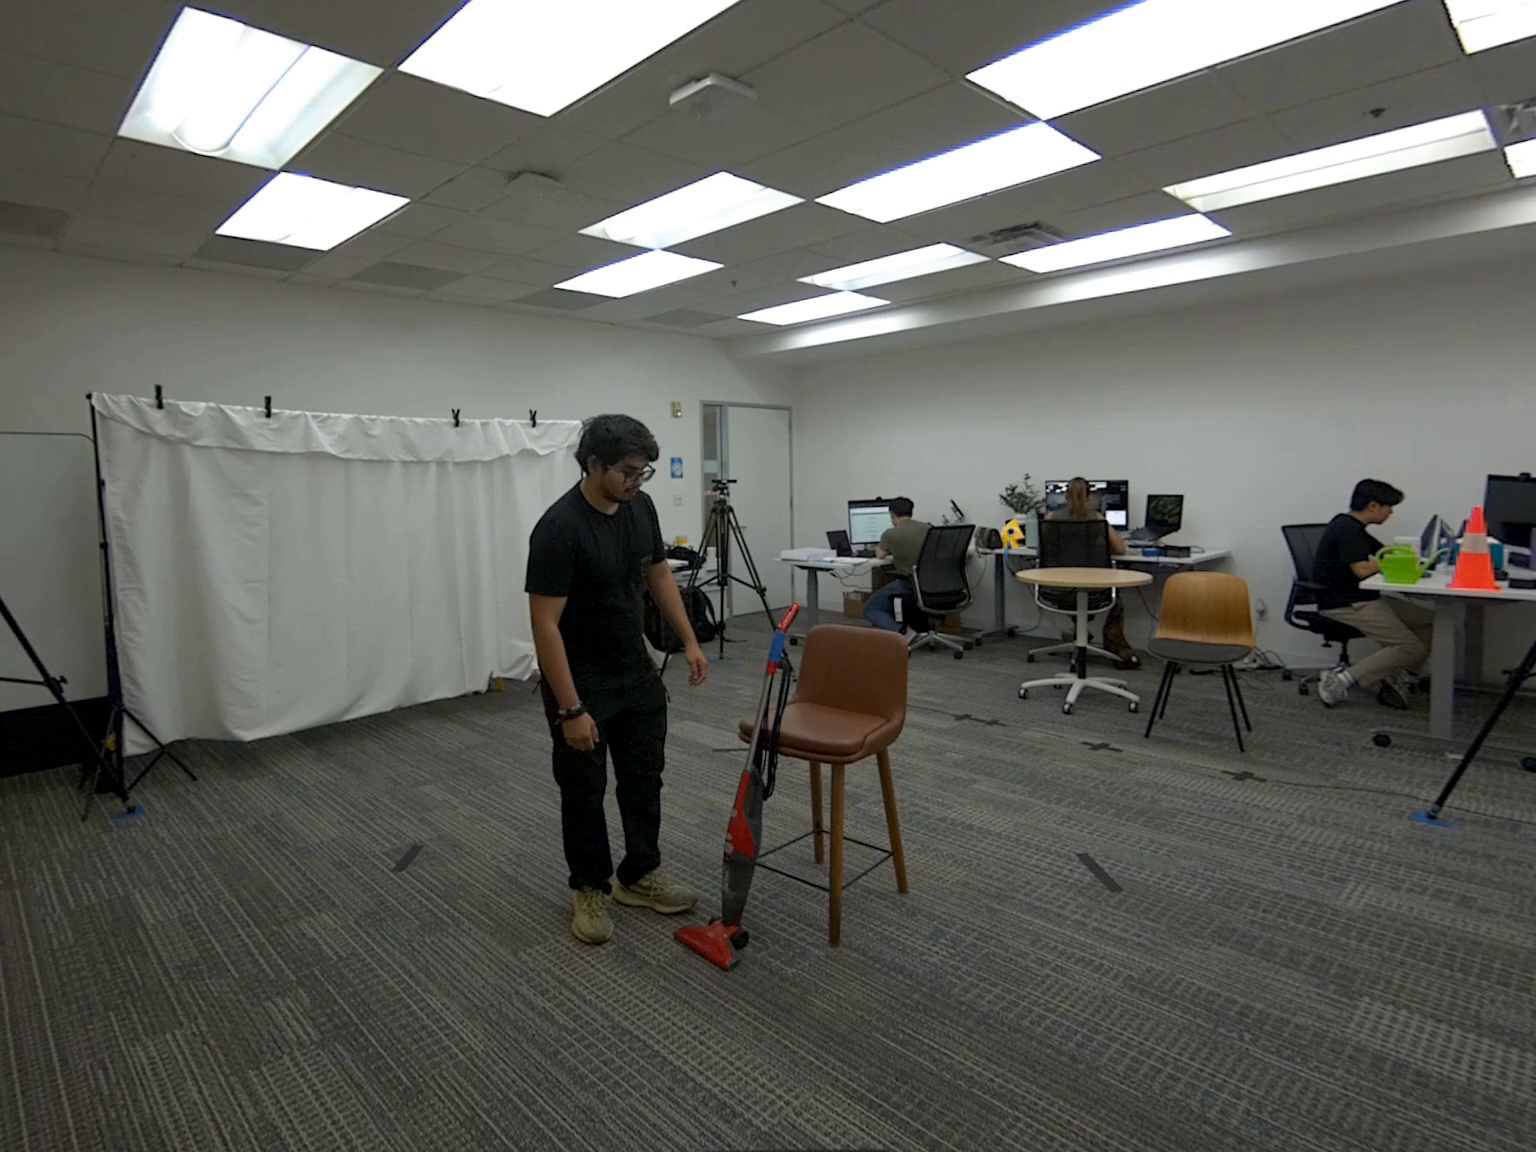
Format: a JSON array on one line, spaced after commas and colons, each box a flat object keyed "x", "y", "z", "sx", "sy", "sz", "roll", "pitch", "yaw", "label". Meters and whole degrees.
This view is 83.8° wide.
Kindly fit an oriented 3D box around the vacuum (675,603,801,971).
[{"x": -0.038, "y": 0.606, "z": 2.649, "sx": 0.260, "sy": 1.056, "sz": 0.139, "roll": 3, "pitch": -14, "yaw": 45, "label": "vacuum"}]
